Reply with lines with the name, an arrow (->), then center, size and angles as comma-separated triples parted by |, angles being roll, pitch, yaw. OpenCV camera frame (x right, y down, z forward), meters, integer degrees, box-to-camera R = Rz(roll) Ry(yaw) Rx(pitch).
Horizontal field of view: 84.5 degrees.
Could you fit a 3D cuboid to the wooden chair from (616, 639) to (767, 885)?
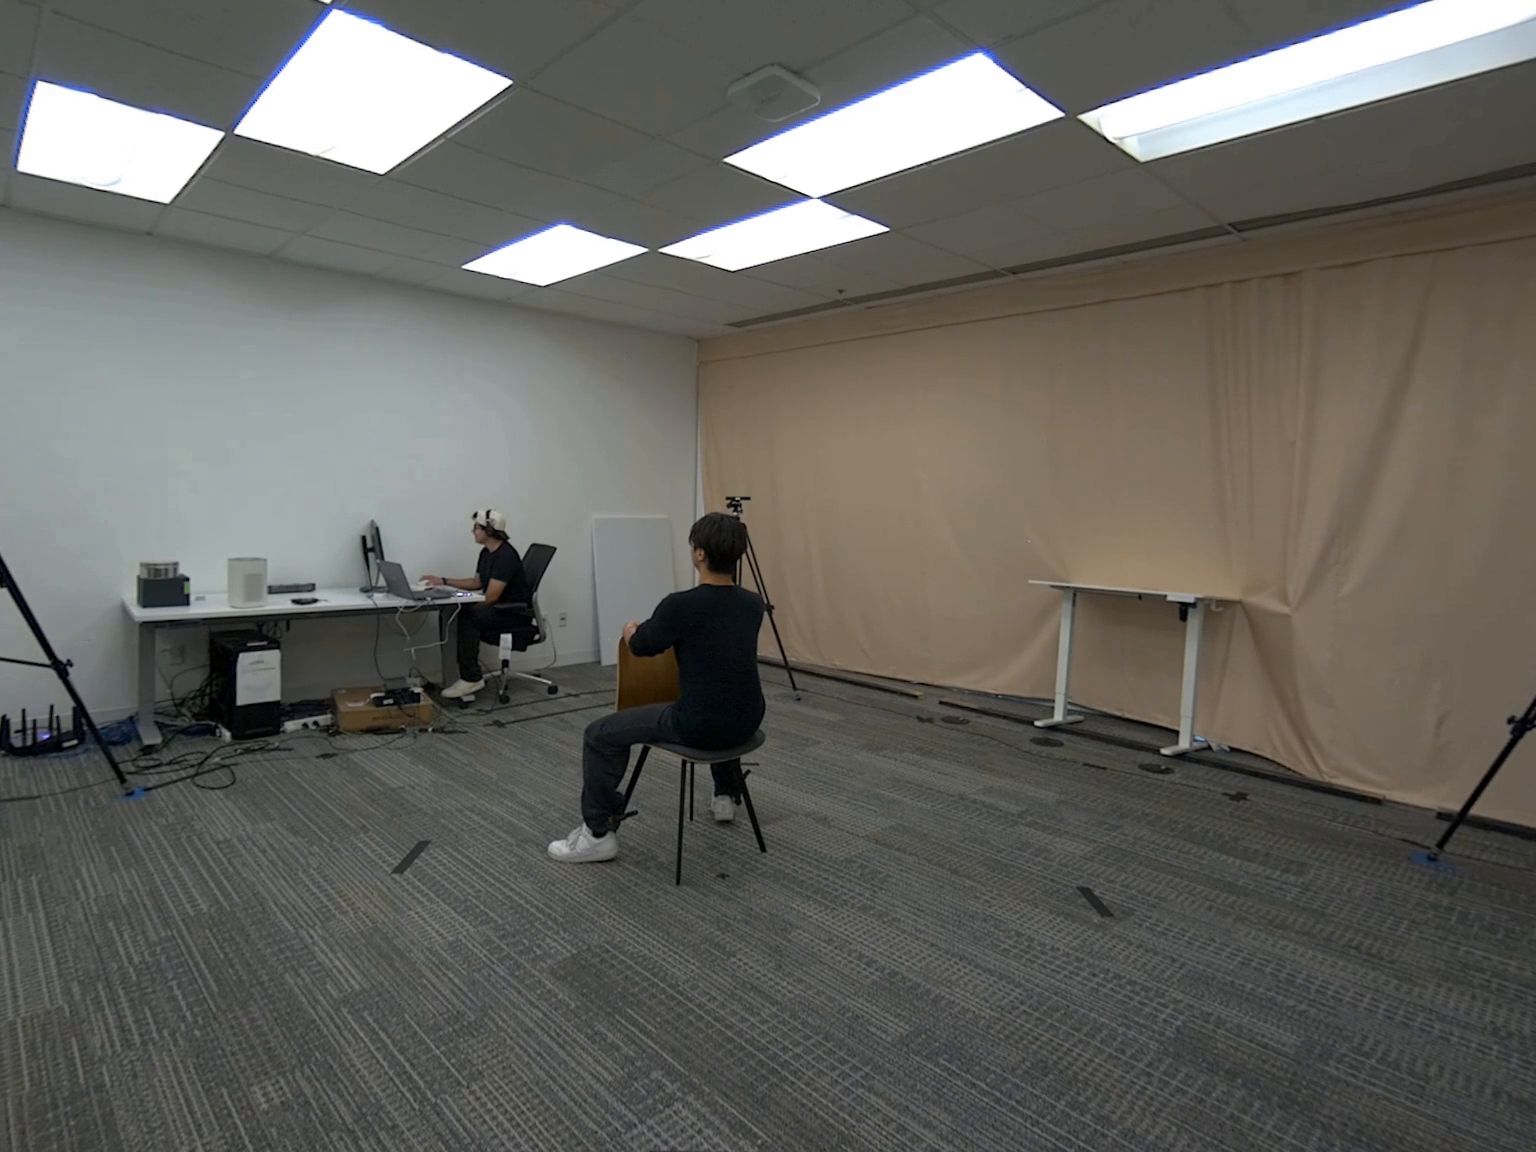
wooden chair -> -0.306, 0.657, 3.294 | 0.467, 0.877, 0.535 | -1, 0, -44
